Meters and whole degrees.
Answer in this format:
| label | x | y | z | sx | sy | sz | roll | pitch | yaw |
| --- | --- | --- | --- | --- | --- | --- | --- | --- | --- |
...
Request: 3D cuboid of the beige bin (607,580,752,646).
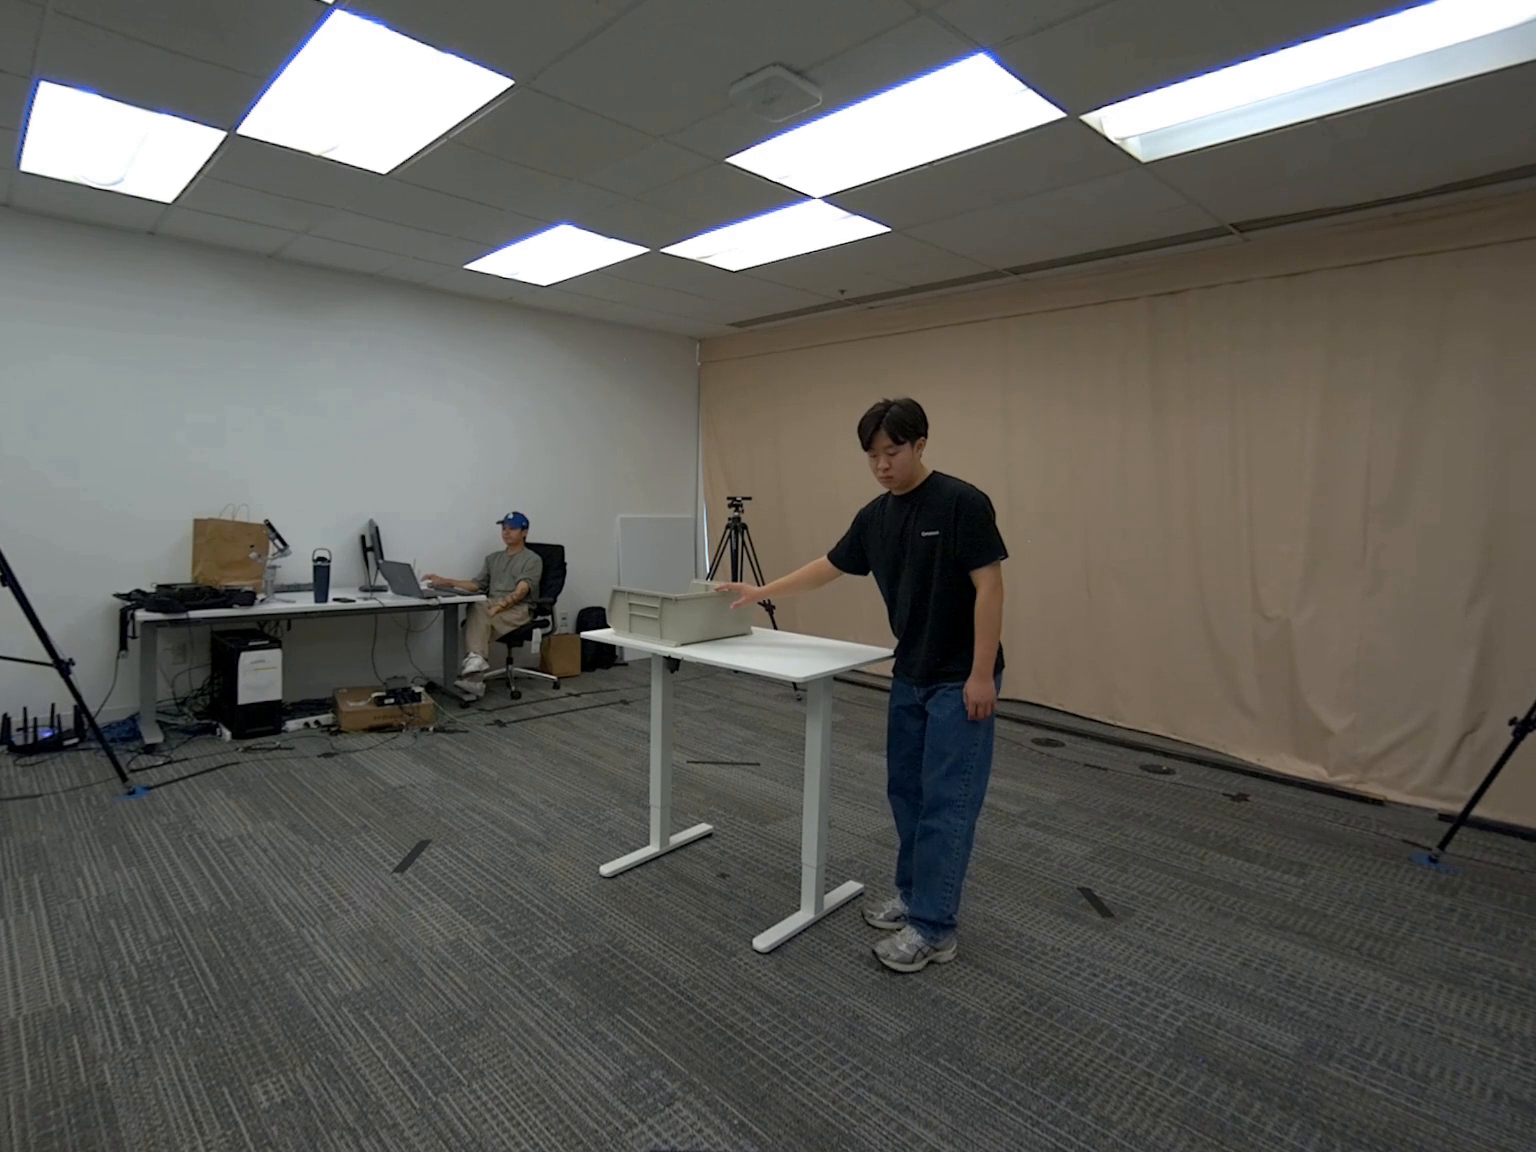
| label | x | y | z | sx | sy | sz | roll | pitch | yaw |
| --- | --- | --- | --- | --- | --- | --- | --- | --- | --- |
| beige bin | -0.330 | 0.131 | 3.111 | 0.387 | 0.188 | 0.413 | 8 | 8 | 41 |
